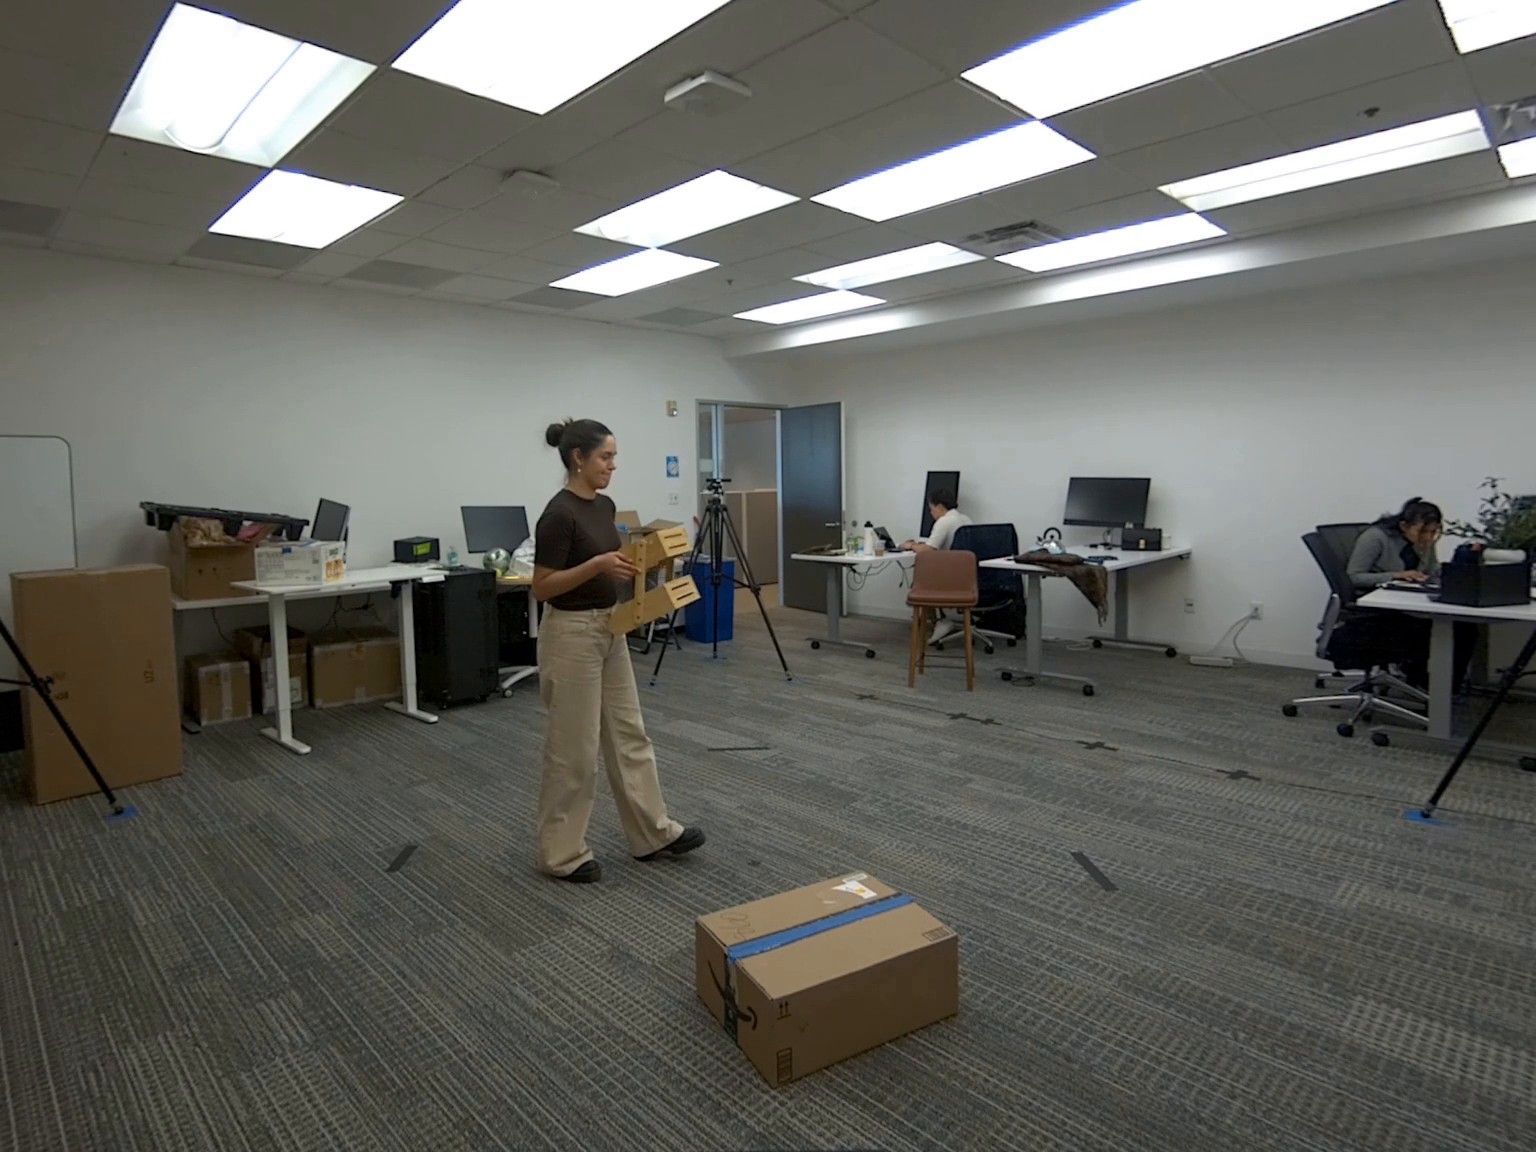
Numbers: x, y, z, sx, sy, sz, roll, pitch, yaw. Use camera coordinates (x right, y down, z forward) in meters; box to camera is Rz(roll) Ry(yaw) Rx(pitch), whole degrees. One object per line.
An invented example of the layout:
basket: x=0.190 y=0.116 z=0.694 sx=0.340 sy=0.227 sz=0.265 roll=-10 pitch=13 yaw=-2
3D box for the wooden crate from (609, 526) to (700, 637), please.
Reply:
wooden crate: x=-0.411 y=0.012 z=2.970 sx=0.304 sy=0.274 sz=0.321 roll=-25 pitch=-1 yaw=13
